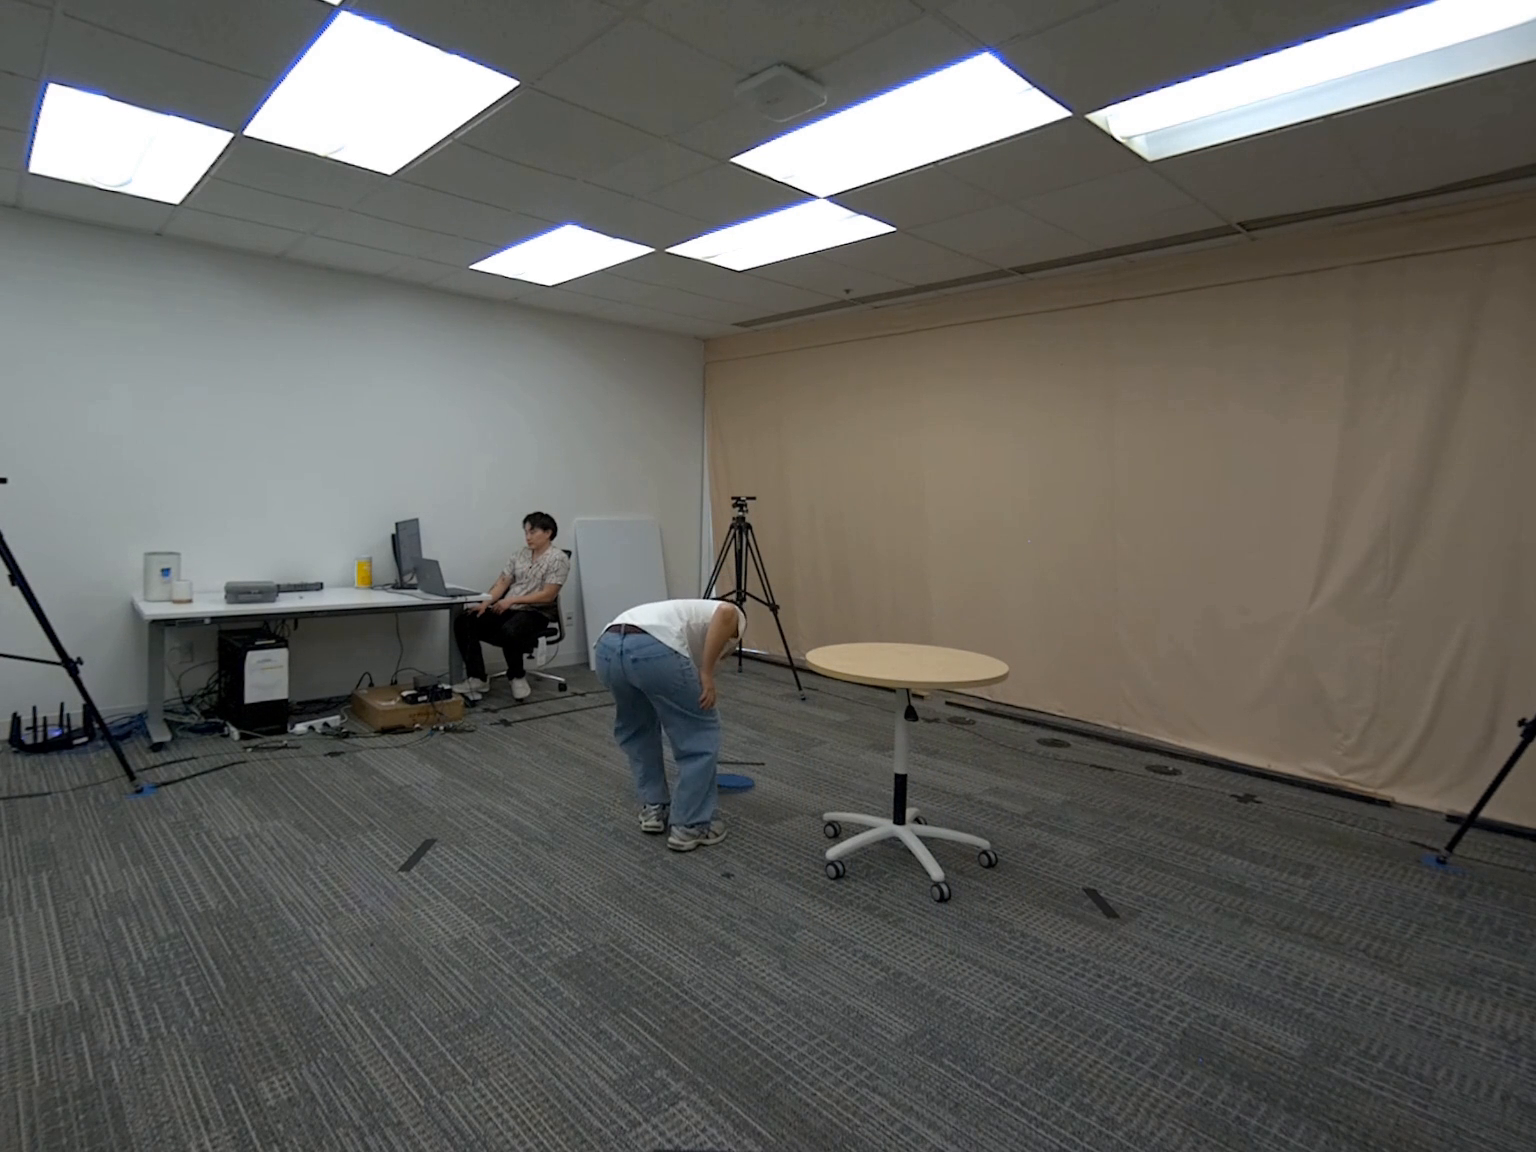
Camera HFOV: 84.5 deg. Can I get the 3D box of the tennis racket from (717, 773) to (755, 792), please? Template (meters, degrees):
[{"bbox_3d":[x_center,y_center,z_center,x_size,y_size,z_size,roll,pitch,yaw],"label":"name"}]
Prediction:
[{"bbox_3d":[-0.235,0.976,4.022,0.219,0.032,0.422,7,1,34],"label":"tennis racket"}]
